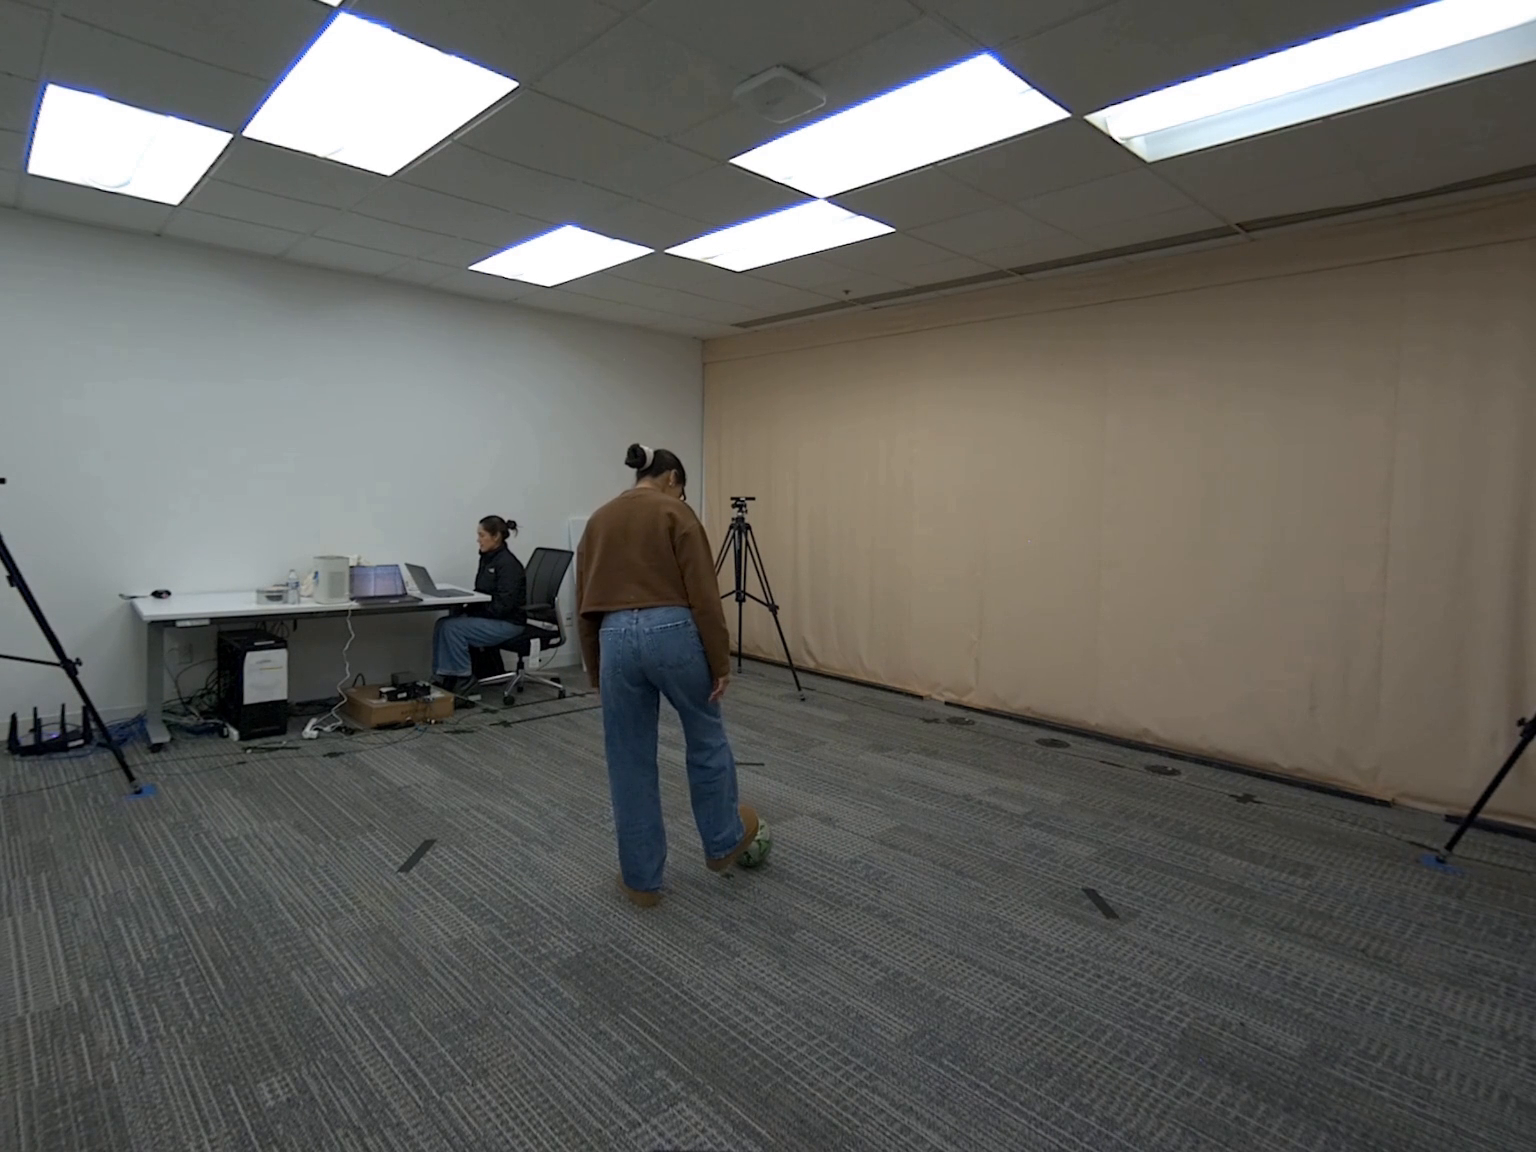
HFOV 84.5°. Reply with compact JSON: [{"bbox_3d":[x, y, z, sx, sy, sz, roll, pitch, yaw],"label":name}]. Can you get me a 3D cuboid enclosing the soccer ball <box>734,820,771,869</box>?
[{"bbox_3d":[-0.082,1.010,3.205,0.187,0.187,0.188,1,4,-1],"label":"soccer ball"}]
